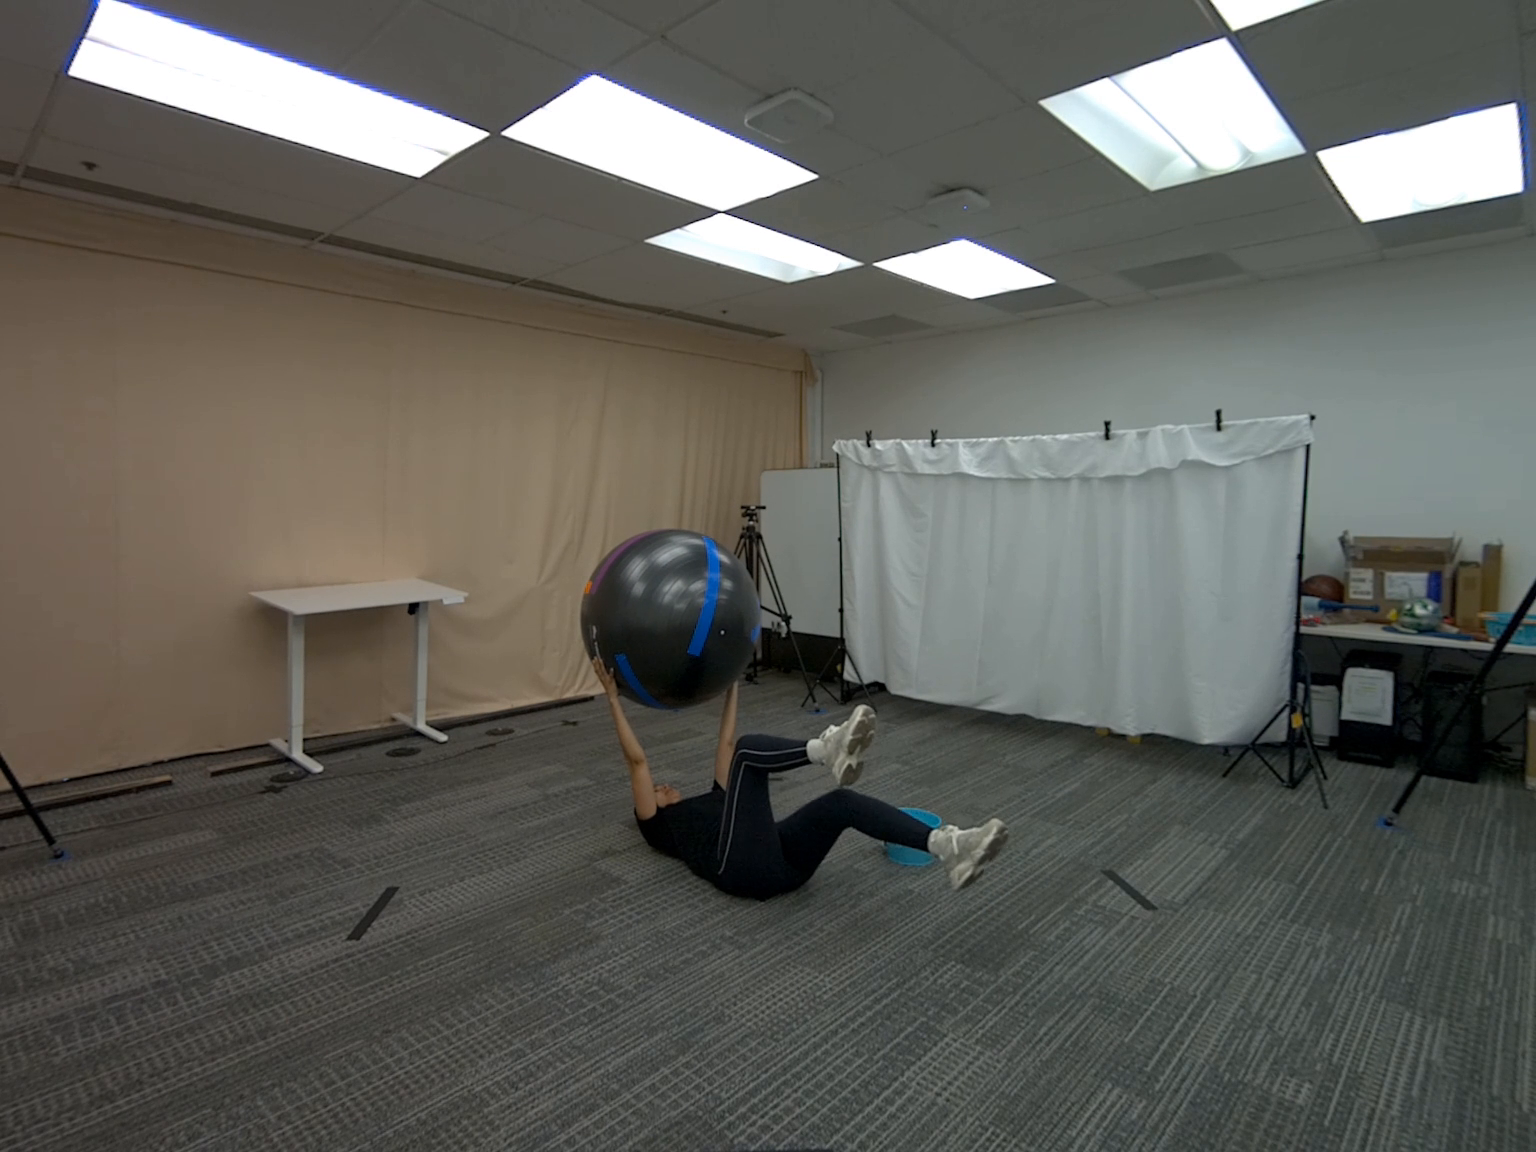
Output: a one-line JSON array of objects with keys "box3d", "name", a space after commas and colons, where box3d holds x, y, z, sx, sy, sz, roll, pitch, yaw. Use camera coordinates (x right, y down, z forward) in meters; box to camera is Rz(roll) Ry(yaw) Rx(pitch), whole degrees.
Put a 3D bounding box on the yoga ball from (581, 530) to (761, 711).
[{"box3d": [-0.408, 0.181, 3.548, 0.757, 0.756, 0.761, 3, 5, -2], "name": "yoga ball"}]
